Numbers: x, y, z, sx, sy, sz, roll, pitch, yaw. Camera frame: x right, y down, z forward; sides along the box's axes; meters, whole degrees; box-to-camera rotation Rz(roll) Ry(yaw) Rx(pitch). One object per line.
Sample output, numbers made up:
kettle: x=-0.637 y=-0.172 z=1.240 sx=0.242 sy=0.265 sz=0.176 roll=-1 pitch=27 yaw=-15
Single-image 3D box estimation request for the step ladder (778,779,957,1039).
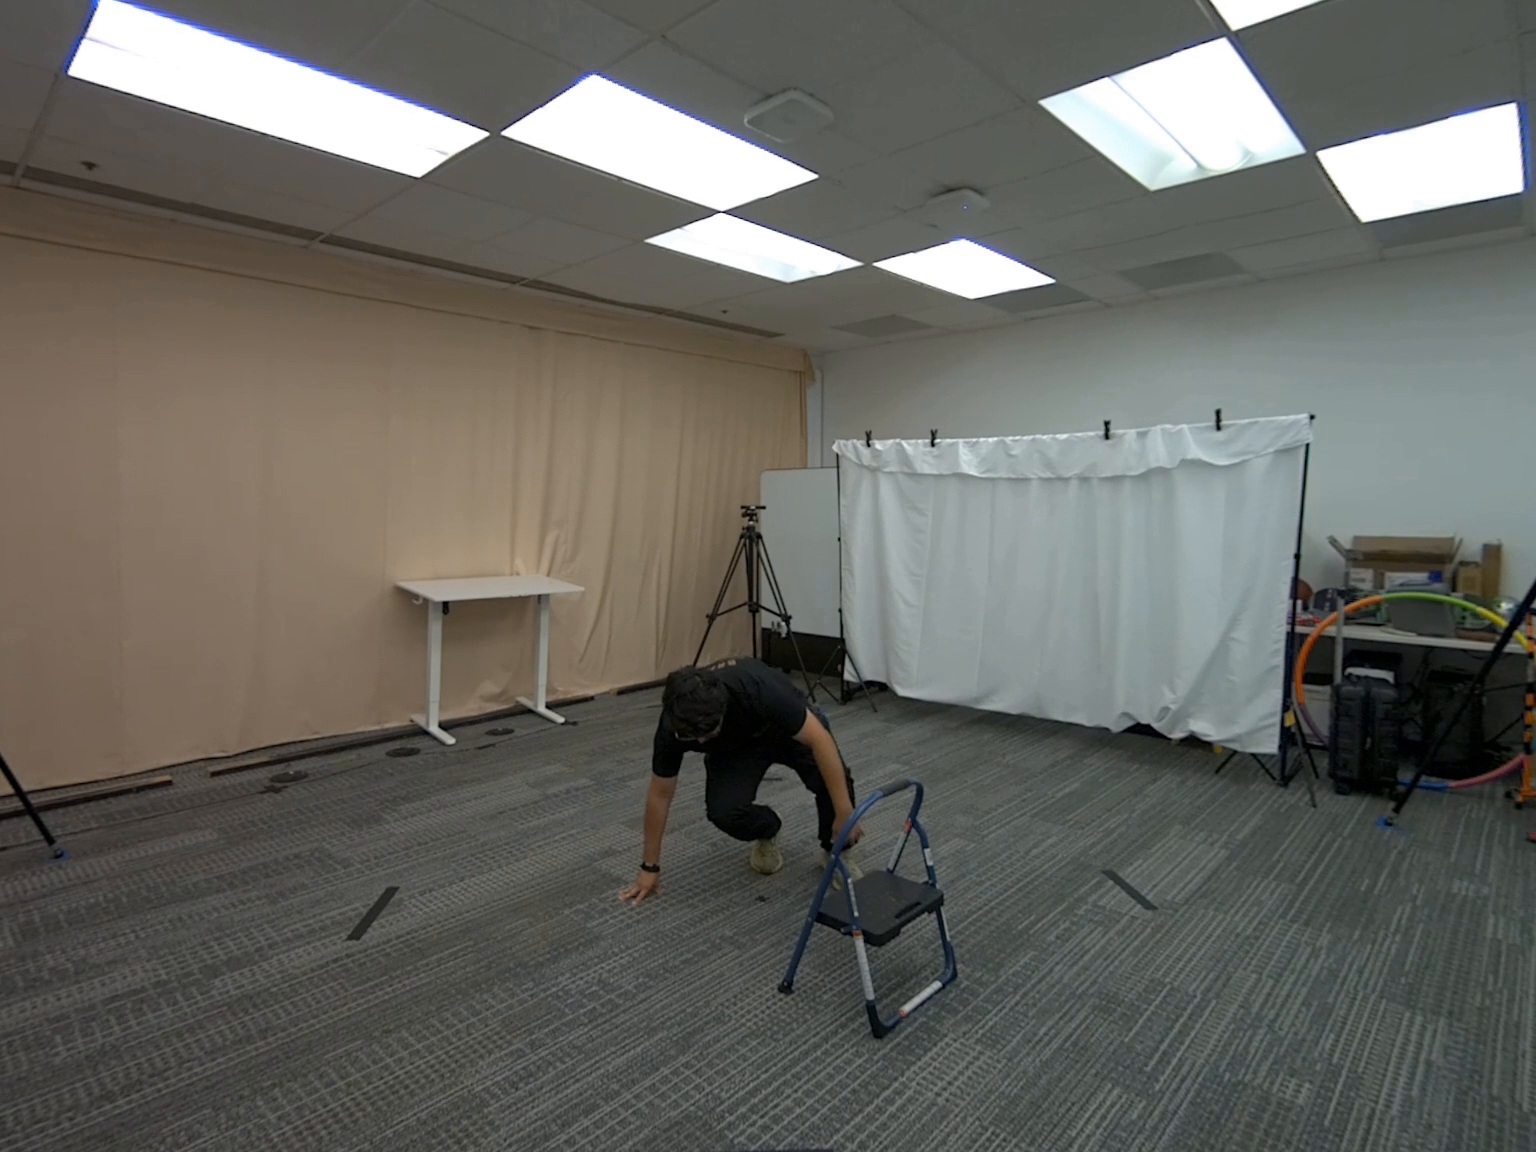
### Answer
step ladder: x=0.302 y=0.887 z=2.434 sx=0.361 sy=0.604 sz=0.417 roll=4 pitch=6 yaw=42
